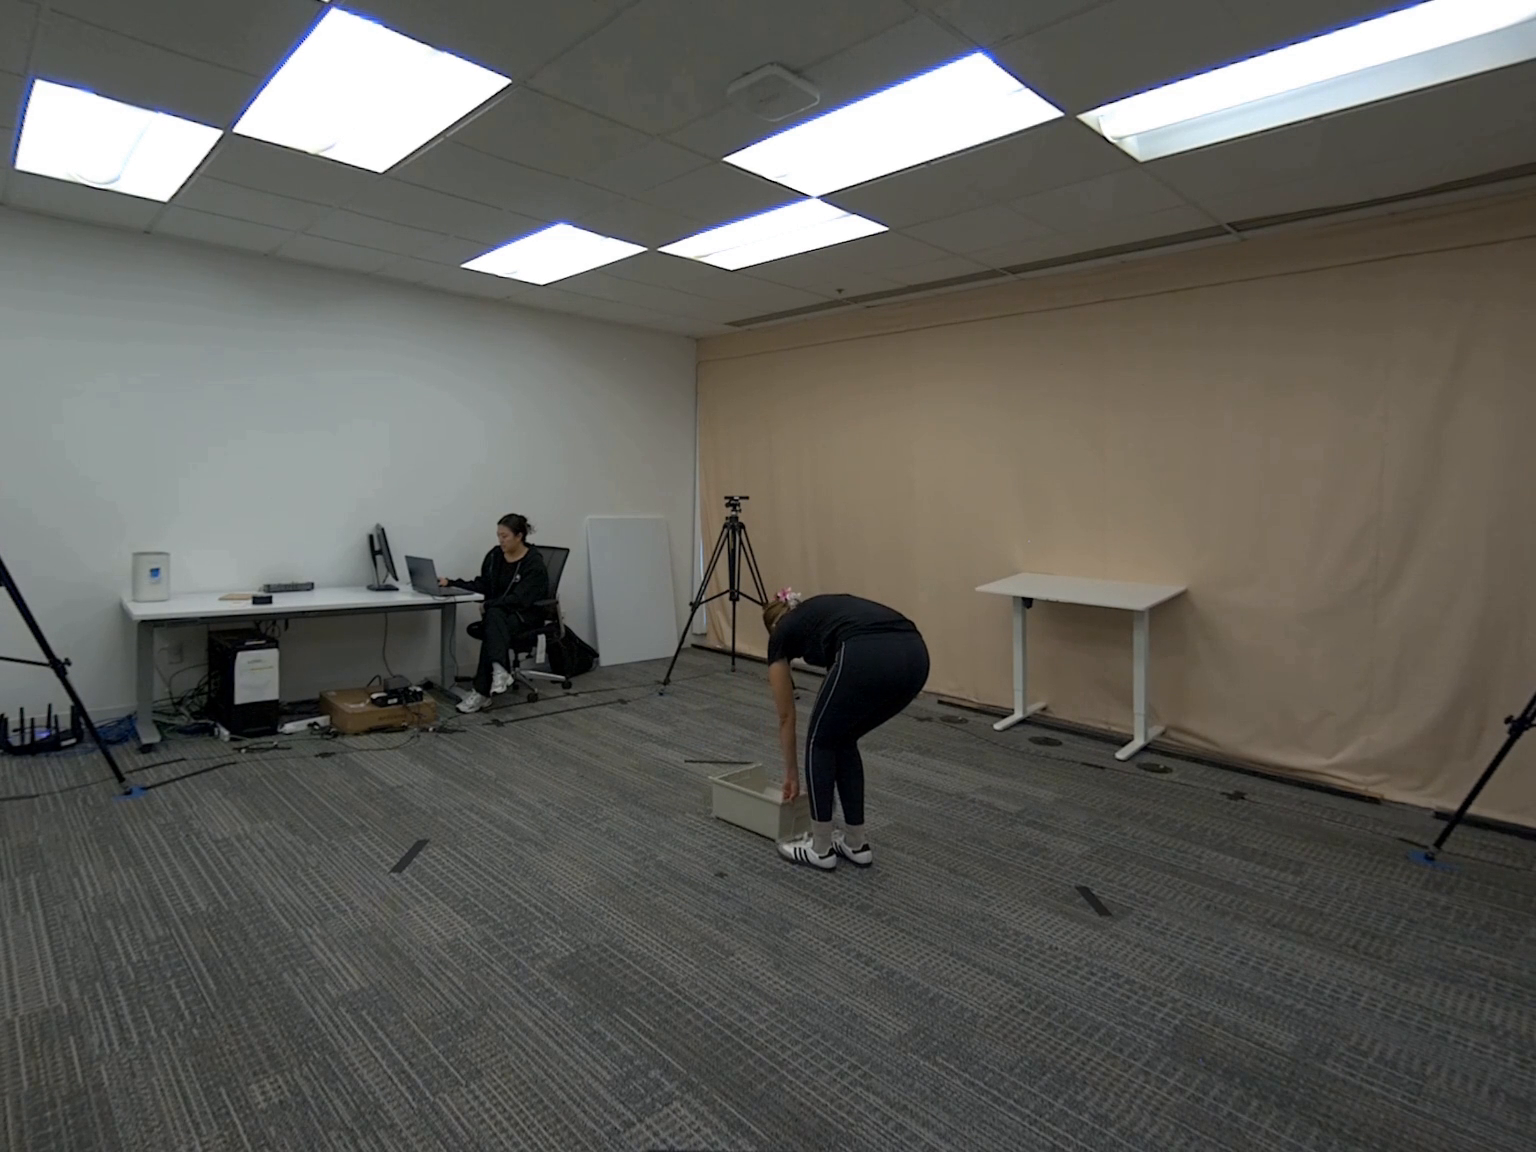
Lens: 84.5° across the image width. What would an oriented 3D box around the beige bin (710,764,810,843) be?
[{"bbox_3d":[0.021,0.967,3.654,0.433,0.188,0.369,7,9,44],"label":"beige bin"}]
